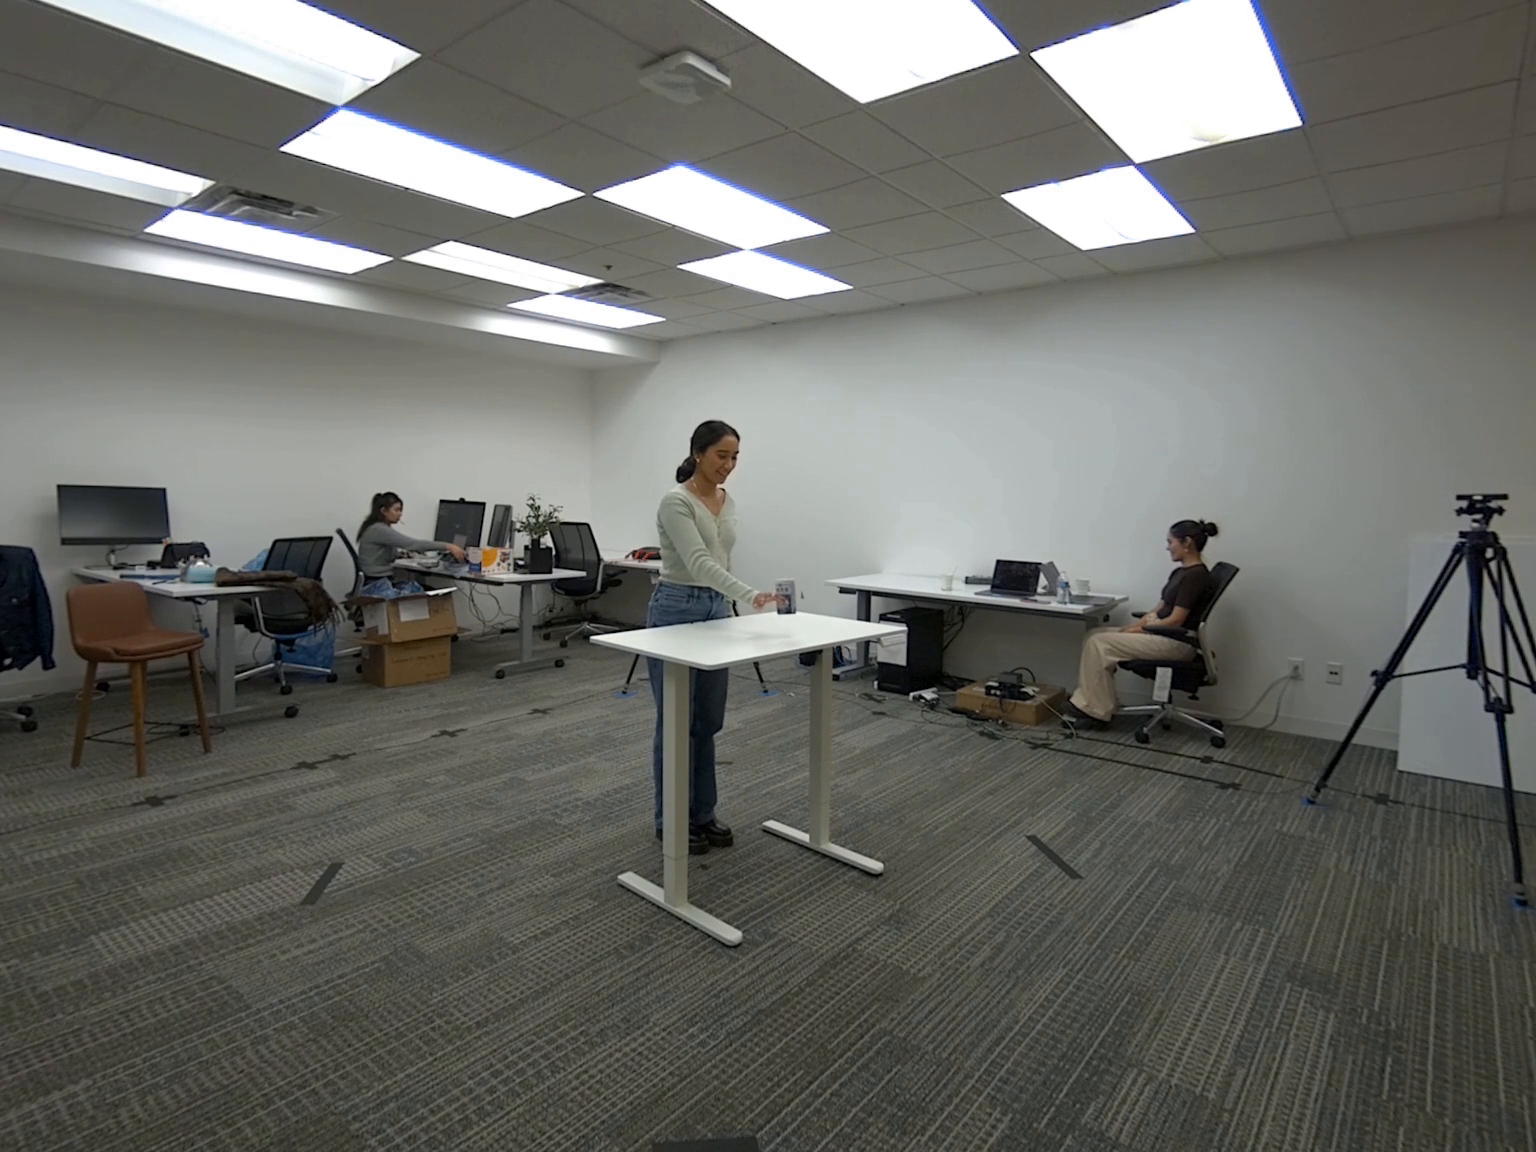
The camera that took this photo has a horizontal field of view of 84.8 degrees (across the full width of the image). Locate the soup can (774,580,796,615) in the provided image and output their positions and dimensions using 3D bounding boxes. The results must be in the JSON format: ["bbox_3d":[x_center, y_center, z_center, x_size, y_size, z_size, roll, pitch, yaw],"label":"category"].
[{"bbox_3d":[0.051,0.064,2.890,0.067,0.122,0.067,-2,-1,-2],"label":"soup can"}]
